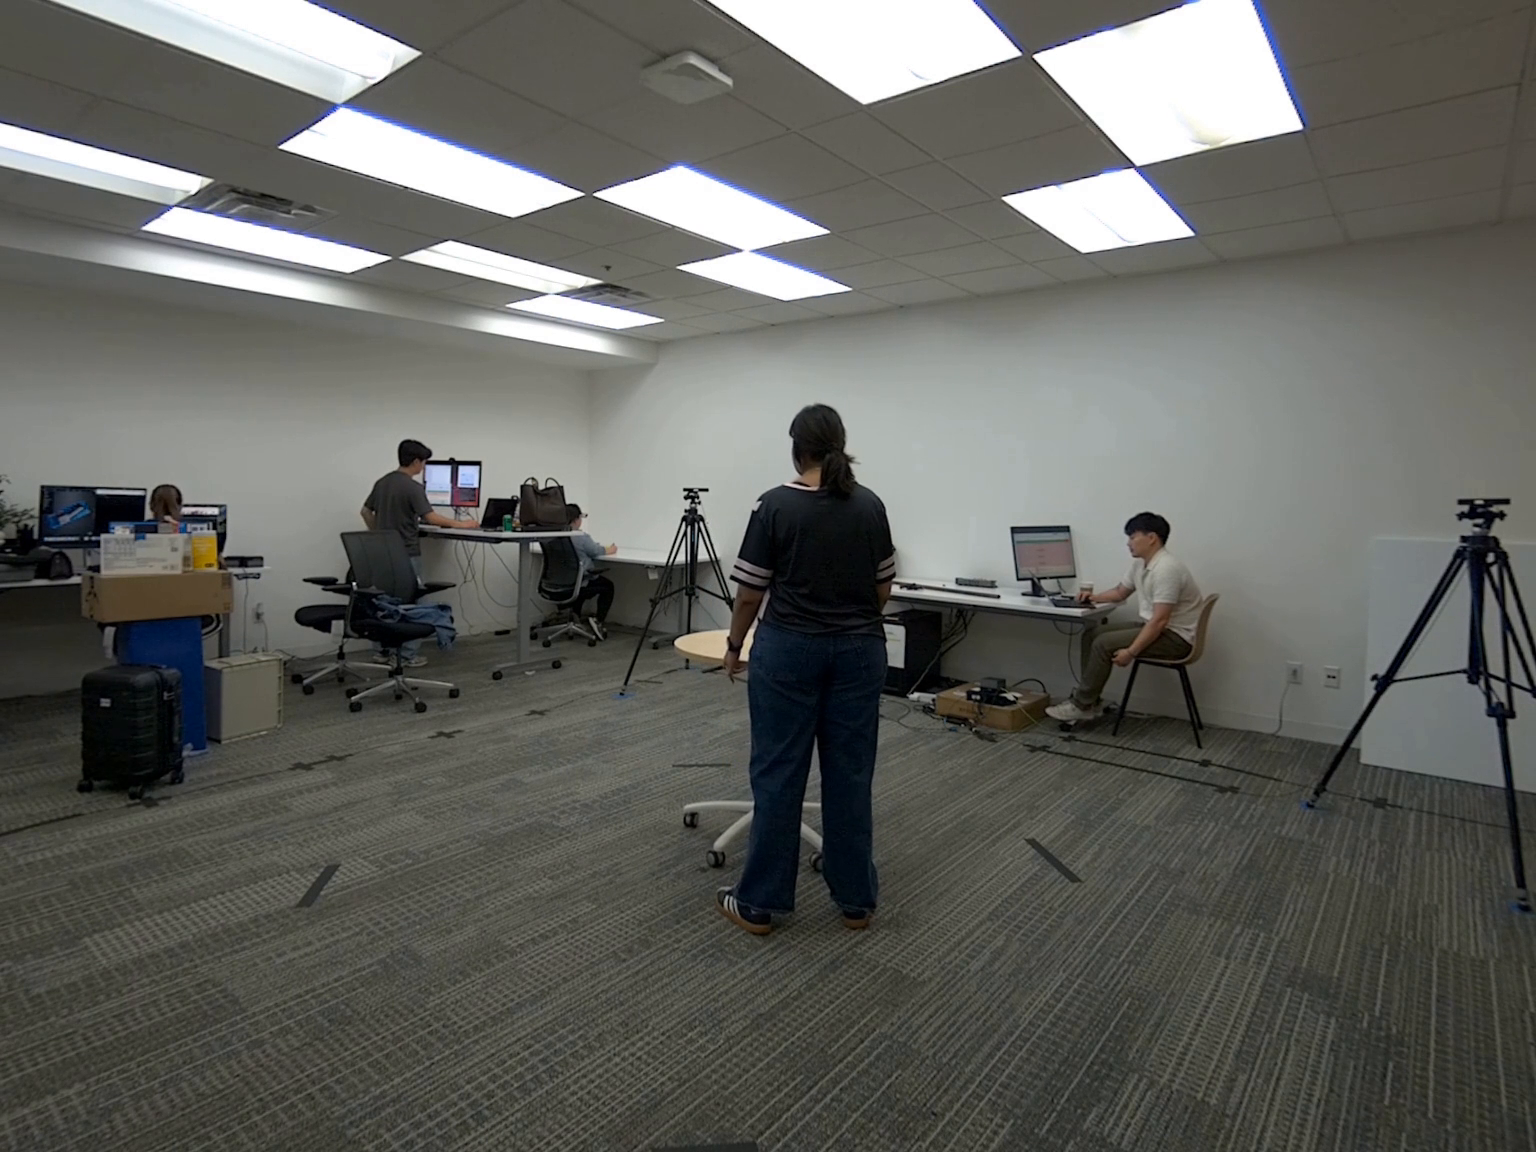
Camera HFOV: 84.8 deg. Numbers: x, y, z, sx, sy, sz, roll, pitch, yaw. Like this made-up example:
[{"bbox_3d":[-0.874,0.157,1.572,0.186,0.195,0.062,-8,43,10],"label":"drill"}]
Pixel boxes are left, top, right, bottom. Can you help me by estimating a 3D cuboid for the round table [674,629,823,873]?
[{"bbox_3d":[-0.010,0.655,3.377,0.763,0.792,0.767,1,3,-2],"label":"round table"}]
